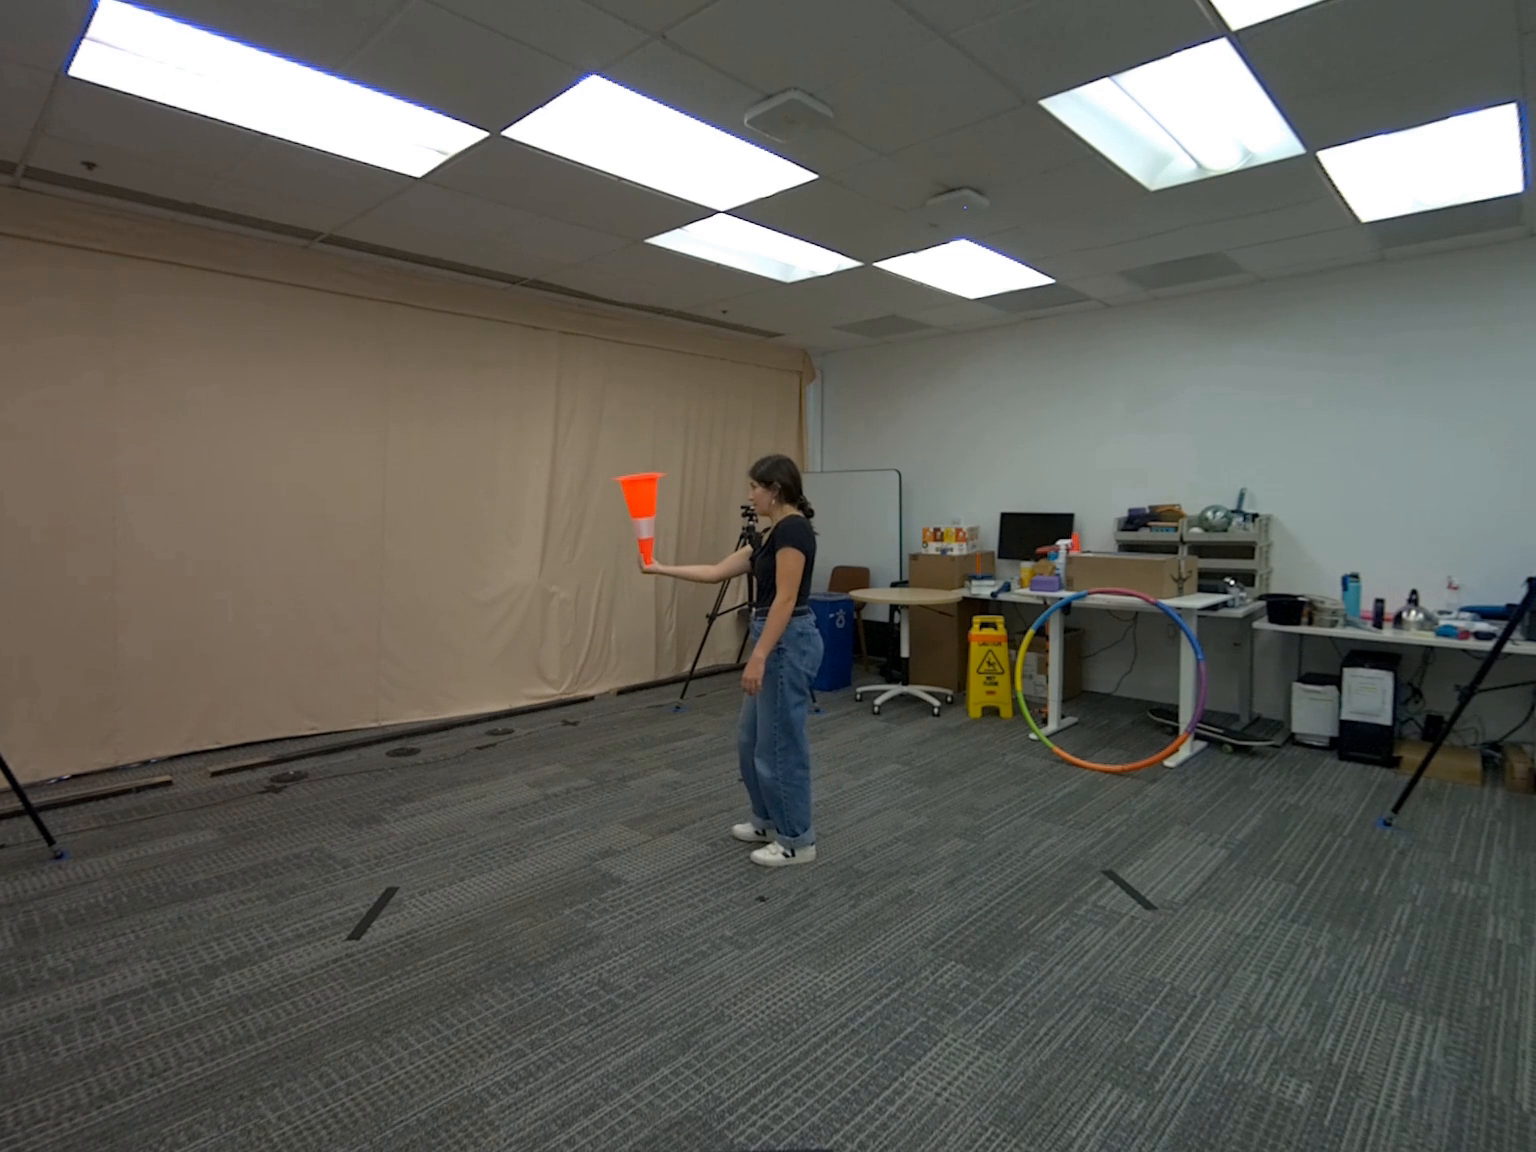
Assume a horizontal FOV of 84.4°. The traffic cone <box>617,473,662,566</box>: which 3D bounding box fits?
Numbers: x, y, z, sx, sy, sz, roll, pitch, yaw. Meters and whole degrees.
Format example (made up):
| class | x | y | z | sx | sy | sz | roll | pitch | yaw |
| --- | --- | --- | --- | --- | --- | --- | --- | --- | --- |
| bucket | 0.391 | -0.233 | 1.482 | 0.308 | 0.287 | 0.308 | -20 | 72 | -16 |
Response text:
| class | x | y | z | sx | sy | sz | roll | pitch | yaw |
| --- | --- | --- | --- | --- | --- | --- | --- | --- | --- |
| traffic cone | -0.507 | -0.216 | 3.505 | 0.201 | 0.381 | 0.209 | -9 | 9 | -13 |
